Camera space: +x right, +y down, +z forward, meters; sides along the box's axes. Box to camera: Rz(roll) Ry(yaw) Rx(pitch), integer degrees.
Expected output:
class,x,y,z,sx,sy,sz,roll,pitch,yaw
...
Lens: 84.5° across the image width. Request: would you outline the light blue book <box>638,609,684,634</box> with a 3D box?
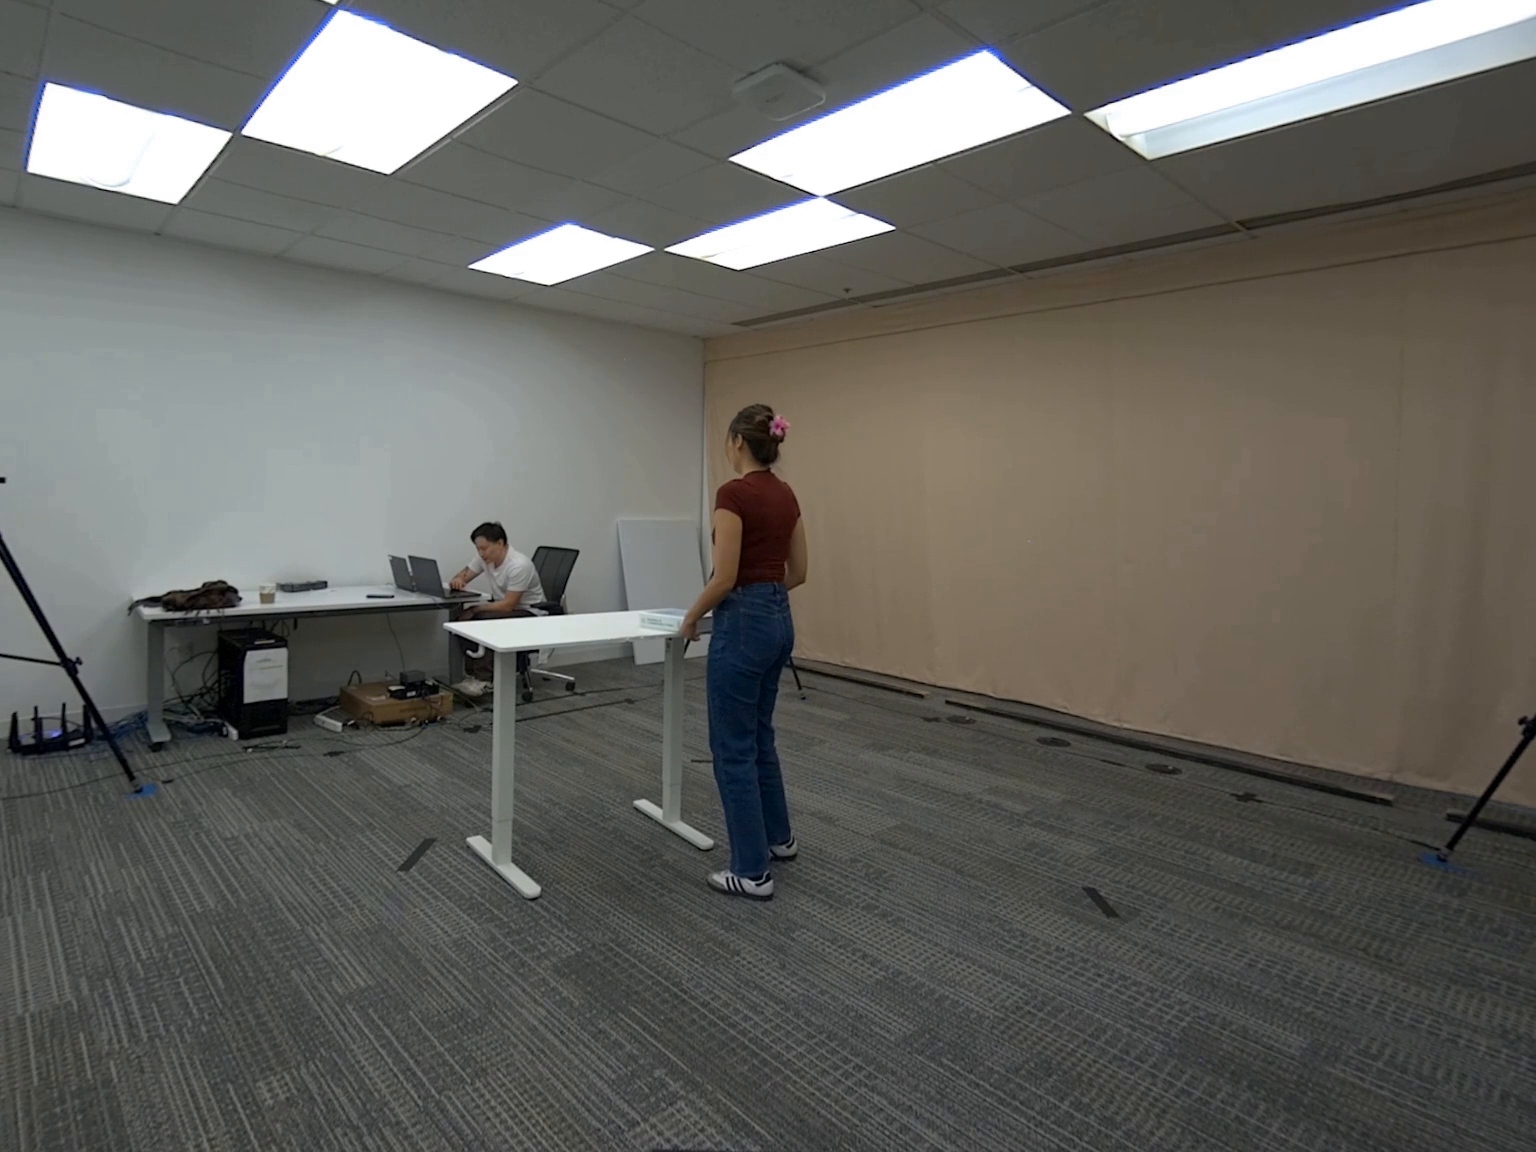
class,x,y,z,sx,sy,sz,roll,pitch,yaw
light blue book,-0.353,0.176,3.283,0.267,0.059,0.187,5,6,34
